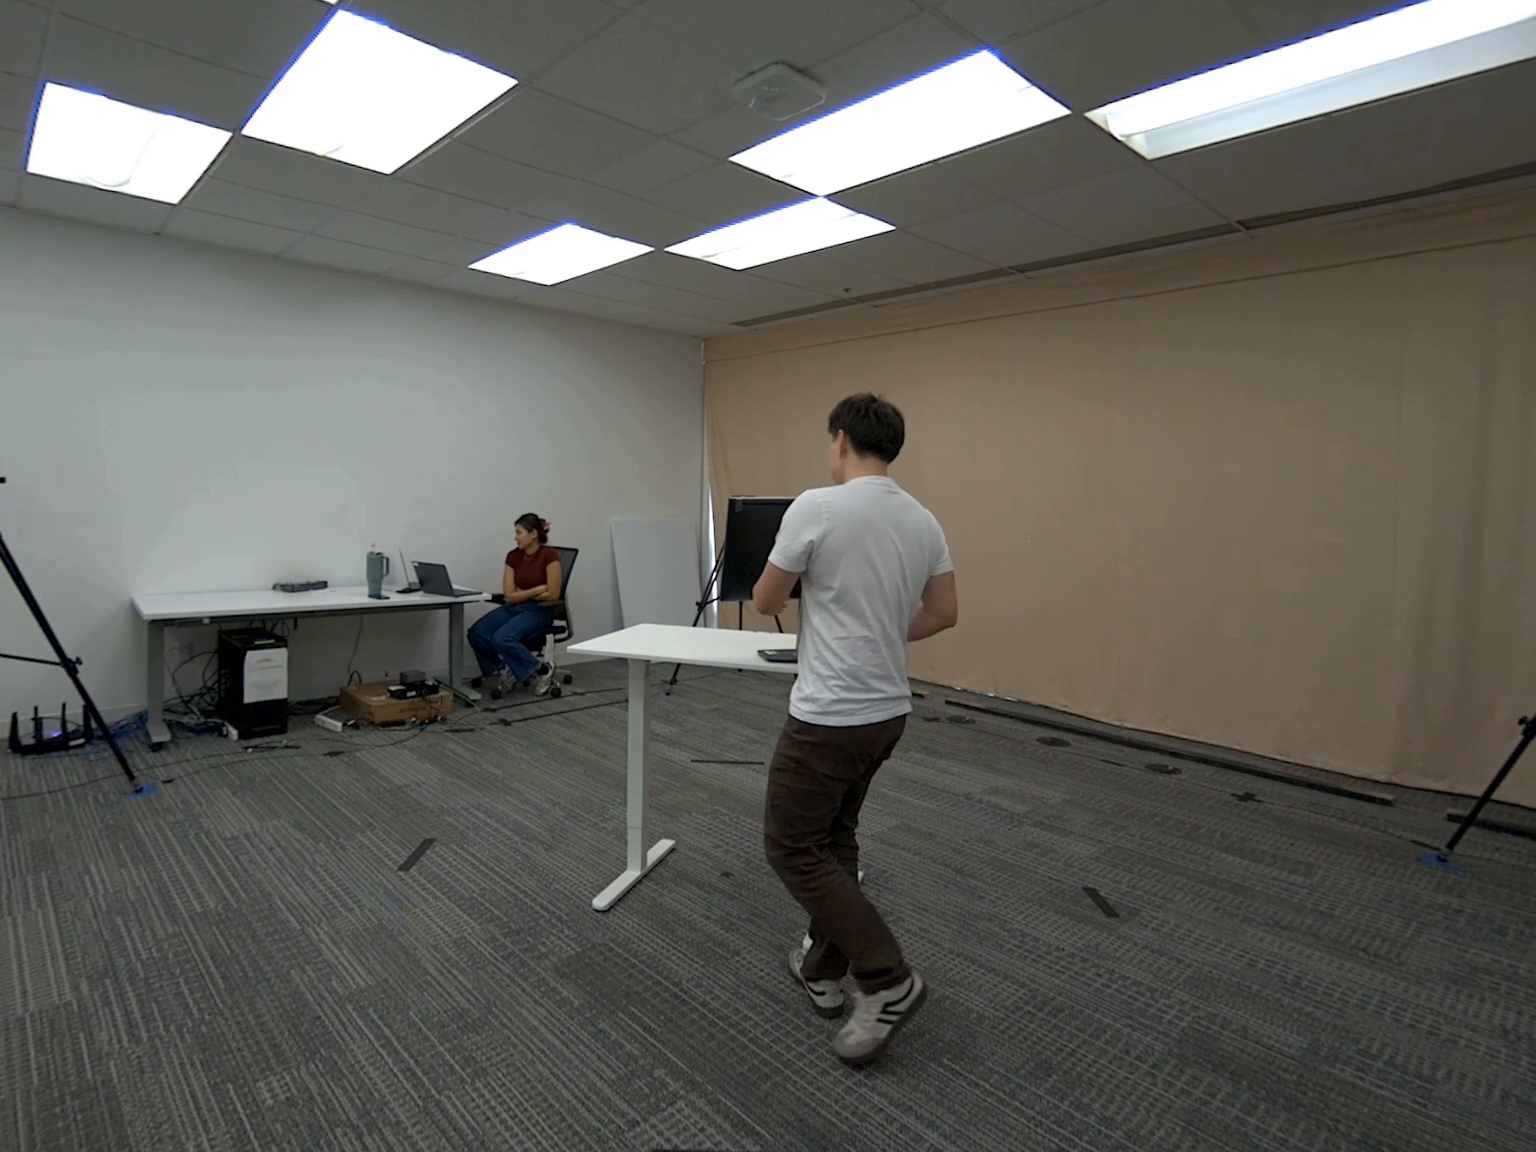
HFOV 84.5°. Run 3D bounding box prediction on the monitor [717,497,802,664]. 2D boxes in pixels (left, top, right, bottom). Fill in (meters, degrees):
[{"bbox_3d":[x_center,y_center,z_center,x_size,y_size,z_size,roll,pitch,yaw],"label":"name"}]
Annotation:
[{"bbox_3d":[0.127,0.013,2.661,0.532,0.520,0.190,-1,6,-16],"label":"monitor"}]
